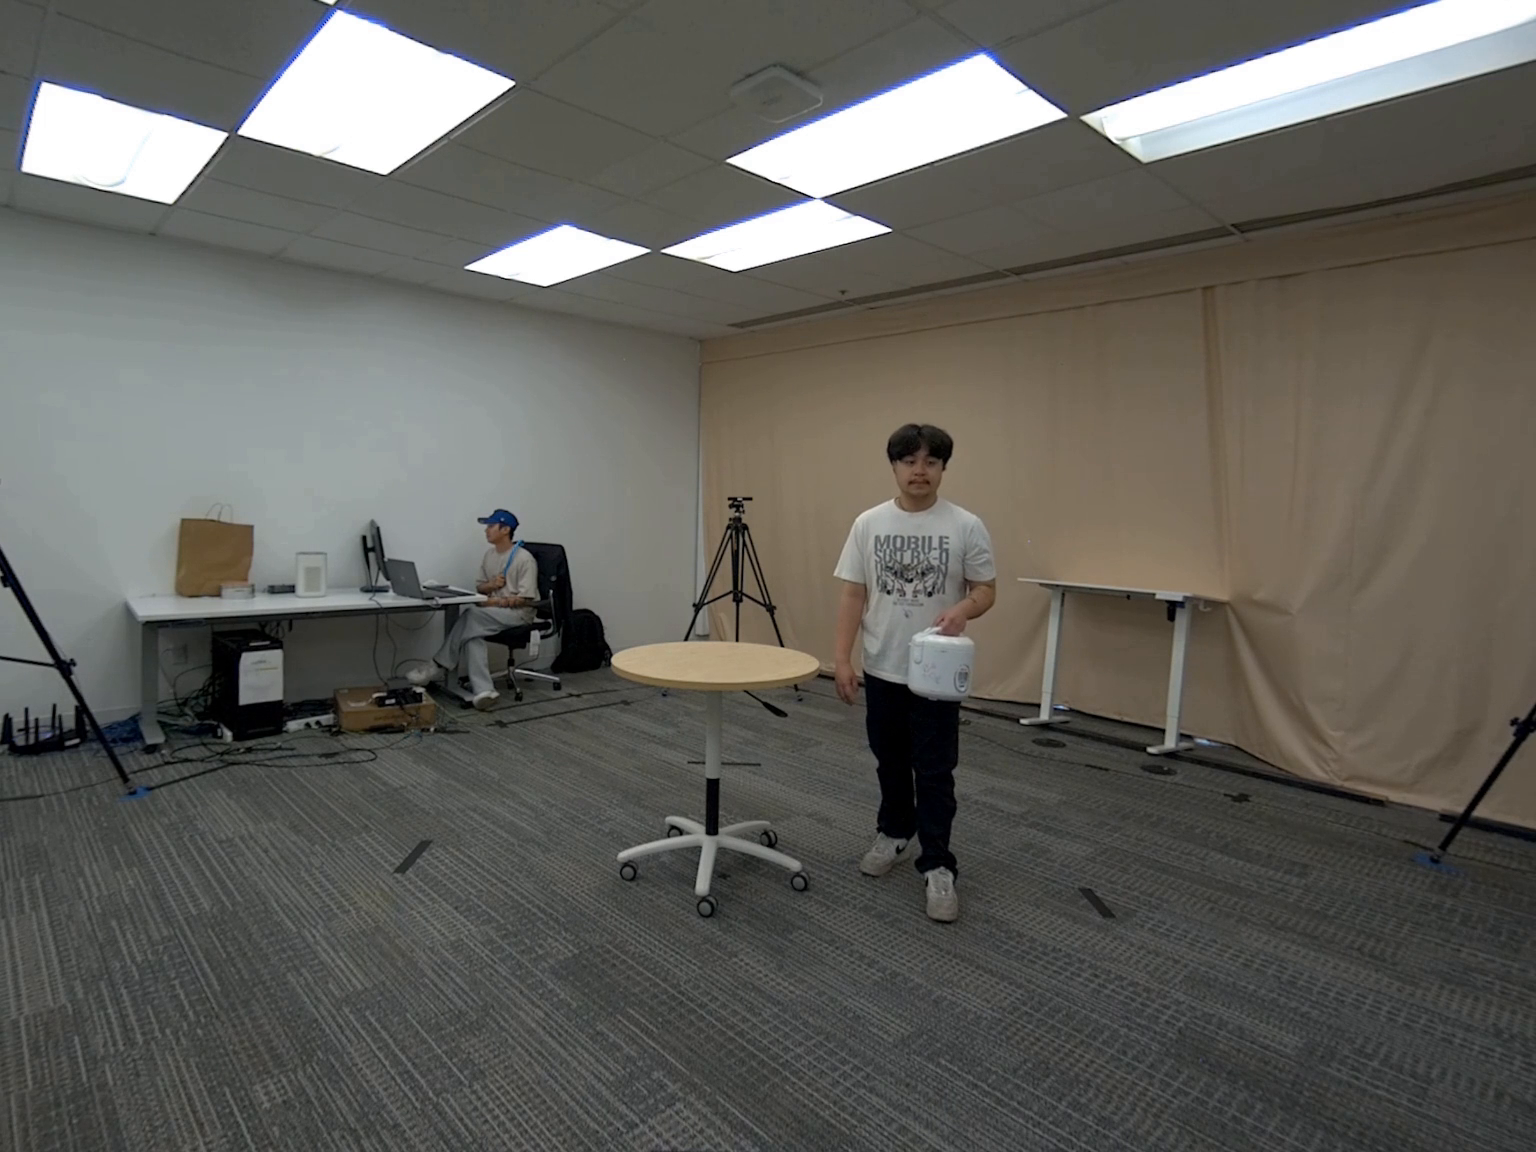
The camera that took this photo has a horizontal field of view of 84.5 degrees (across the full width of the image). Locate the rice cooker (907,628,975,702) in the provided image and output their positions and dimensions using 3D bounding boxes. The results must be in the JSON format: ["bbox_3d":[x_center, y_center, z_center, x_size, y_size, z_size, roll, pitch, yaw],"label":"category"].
[{"bbox_3d":[0.570,0.285,2.783,0.216,0.233,0.222,4,0,-27],"label":"rice cooker"}]
